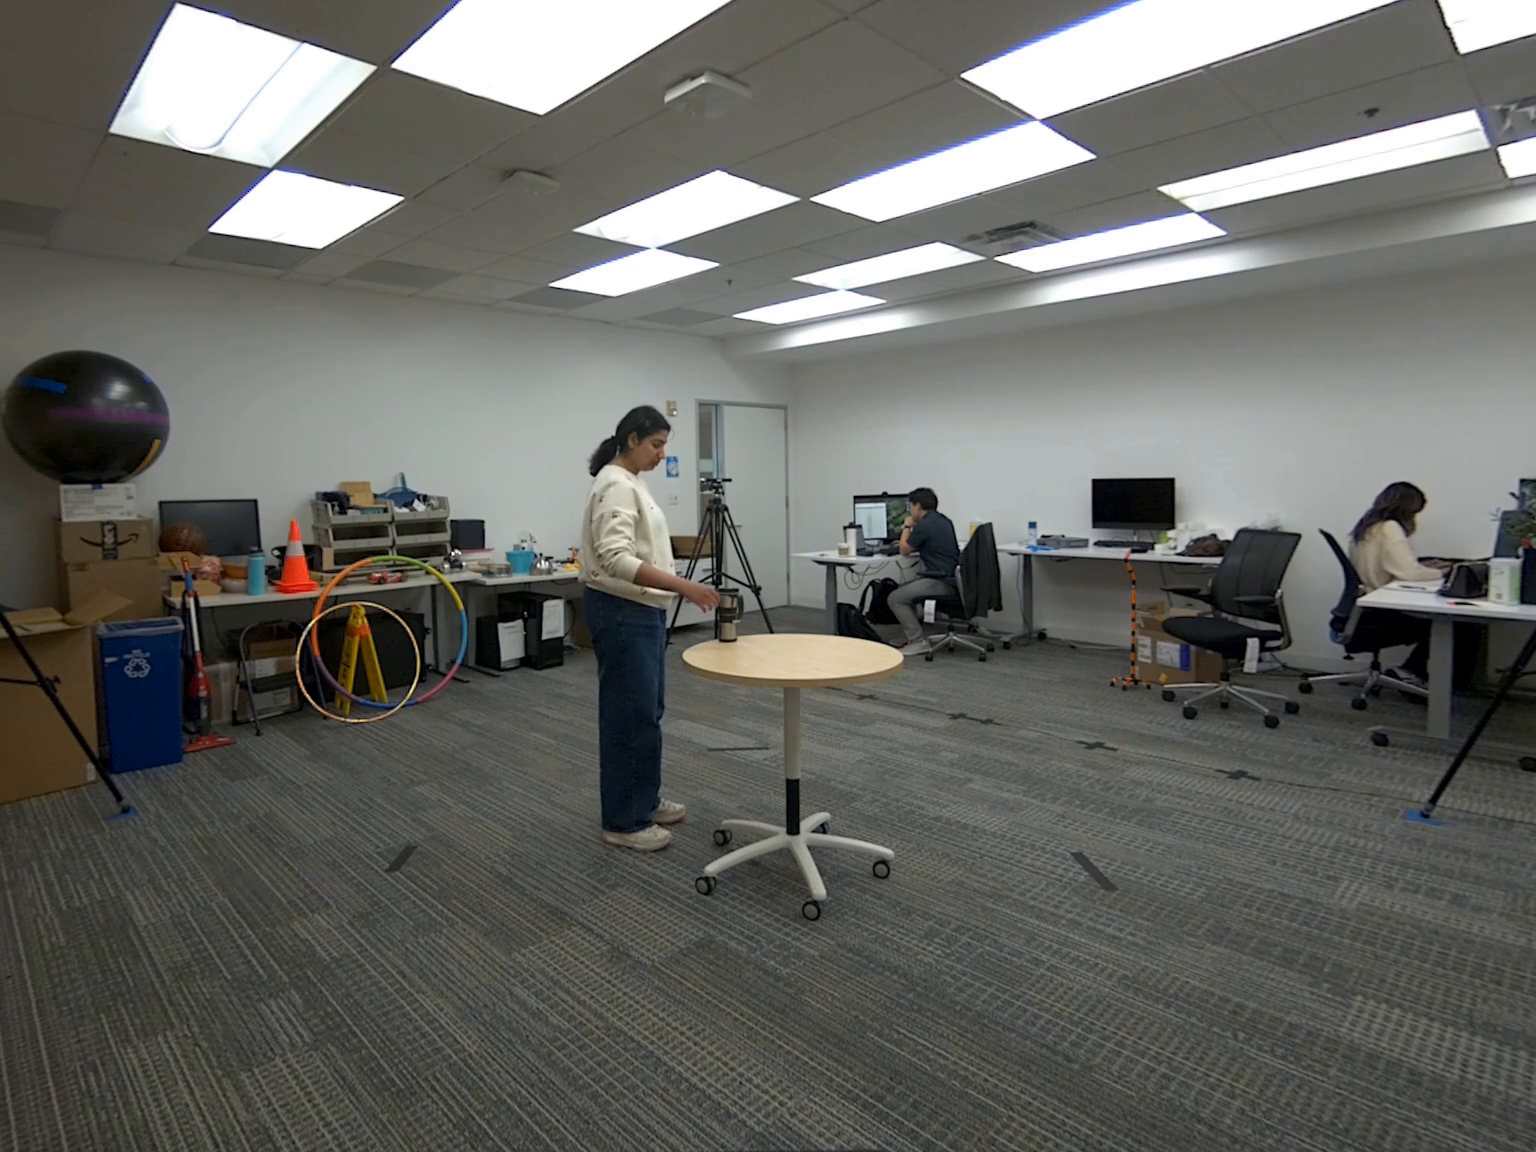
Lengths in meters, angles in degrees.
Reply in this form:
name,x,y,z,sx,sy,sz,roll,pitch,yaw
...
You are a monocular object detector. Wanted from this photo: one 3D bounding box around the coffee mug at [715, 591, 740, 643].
name,x,y,z,sx,sy,sz,roll,pitch,yaw
coffee mug,-0.149,0.148,3.203,0.086,0.203,0.124,0,1,-19
